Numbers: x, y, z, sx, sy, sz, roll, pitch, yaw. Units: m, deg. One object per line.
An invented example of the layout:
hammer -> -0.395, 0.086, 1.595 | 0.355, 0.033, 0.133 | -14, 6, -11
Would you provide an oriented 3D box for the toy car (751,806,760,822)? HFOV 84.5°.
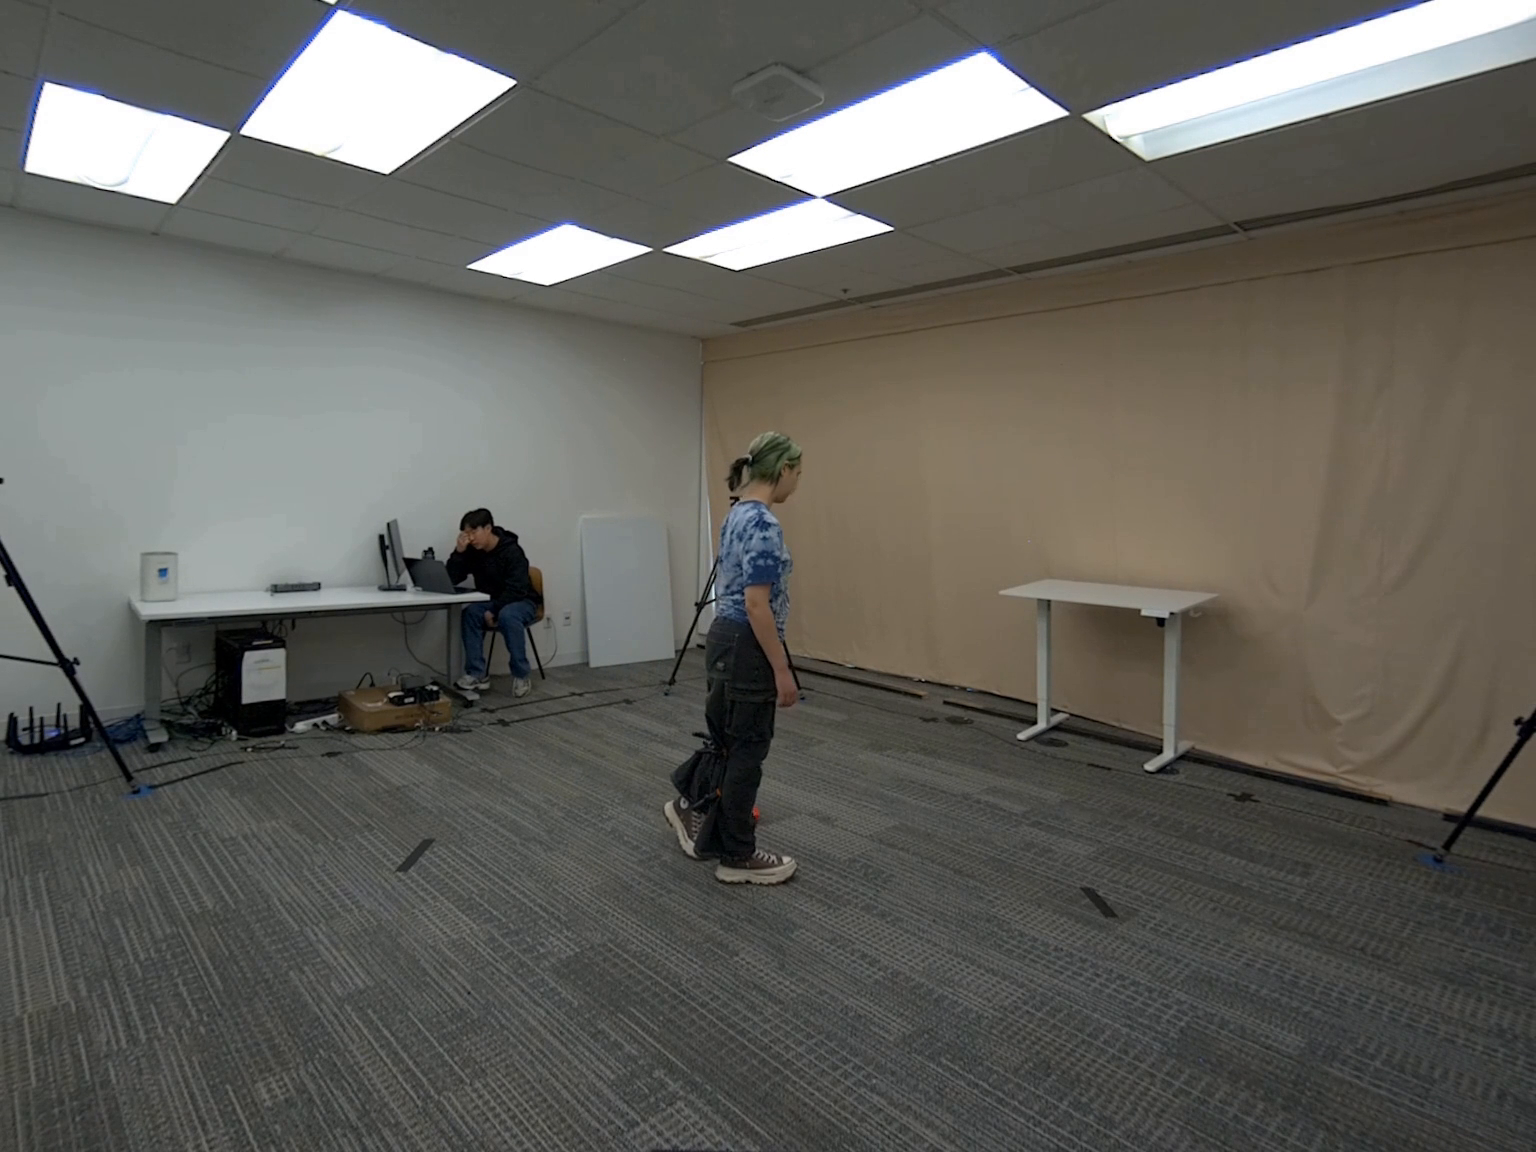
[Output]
toy car -> -0.176, 1.030, 3.633 | 0.254, 0.083, 0.131 | 13, 4, -2
